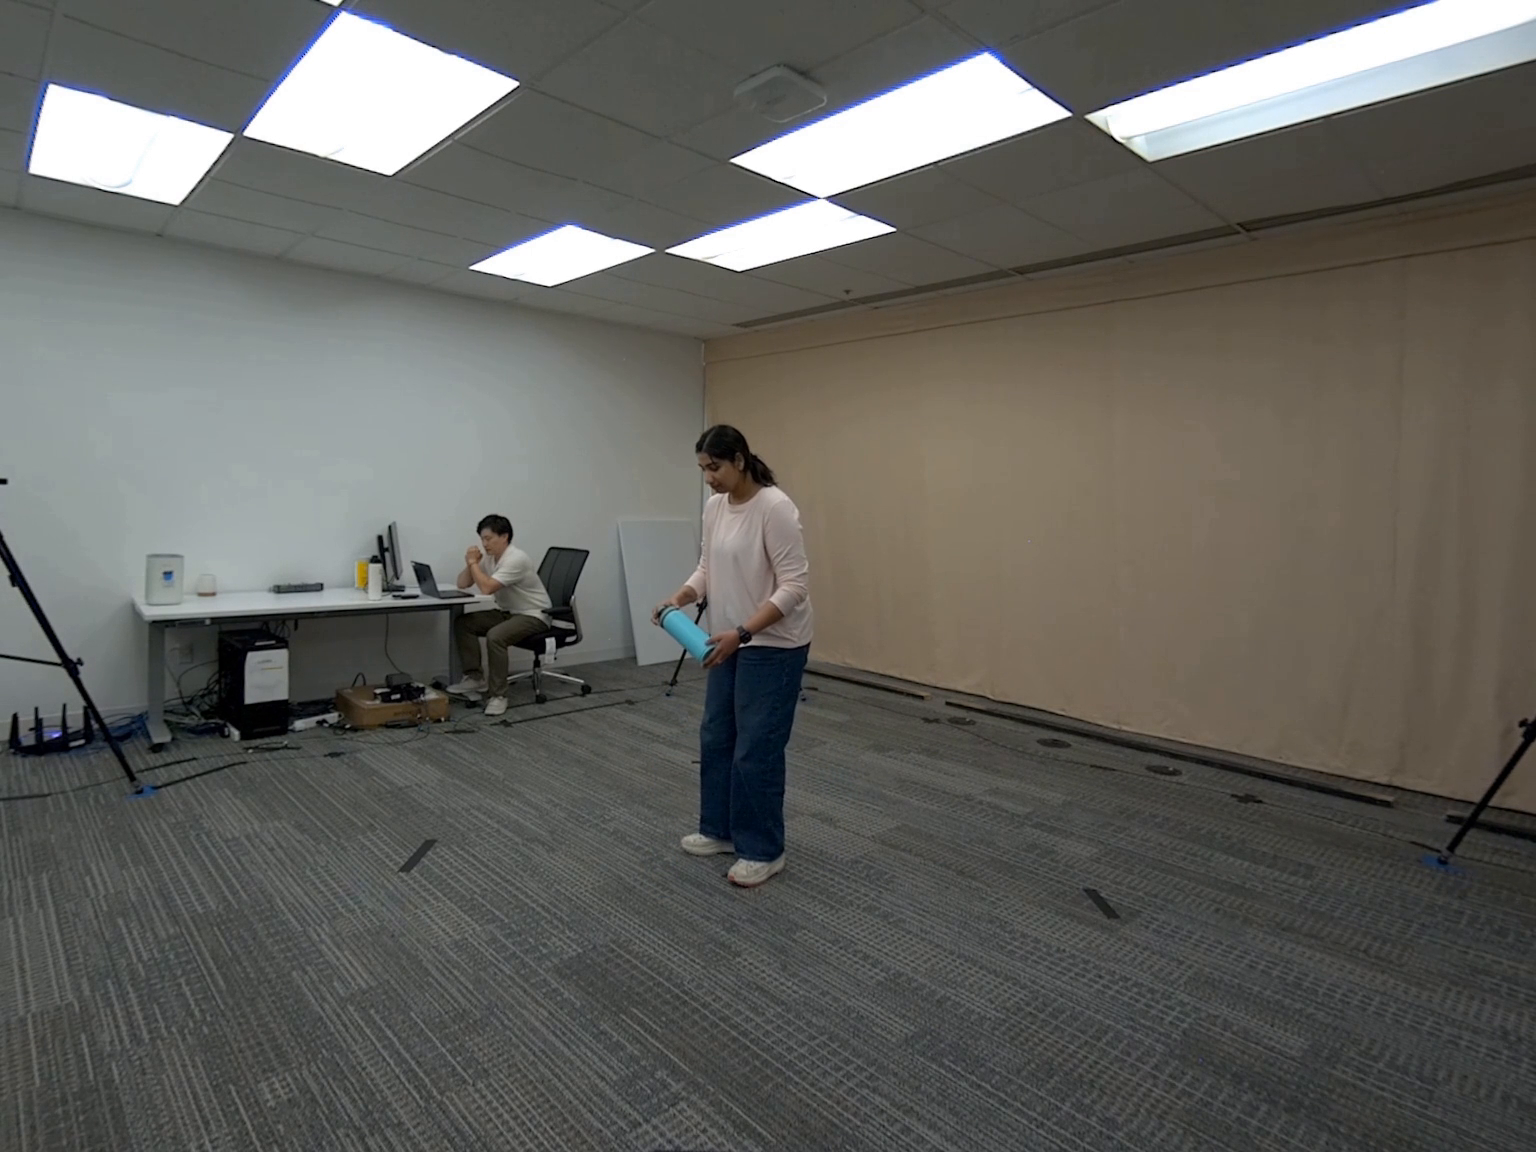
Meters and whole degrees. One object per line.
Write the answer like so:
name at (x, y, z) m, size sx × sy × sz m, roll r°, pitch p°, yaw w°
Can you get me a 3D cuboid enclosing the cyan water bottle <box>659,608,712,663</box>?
cyan water bottle at (-0.285, 0.203, 2.985) m, size 0.090 × 0.091 × 0.292 m, roll -3°, pitch 34°, yaw -49°
